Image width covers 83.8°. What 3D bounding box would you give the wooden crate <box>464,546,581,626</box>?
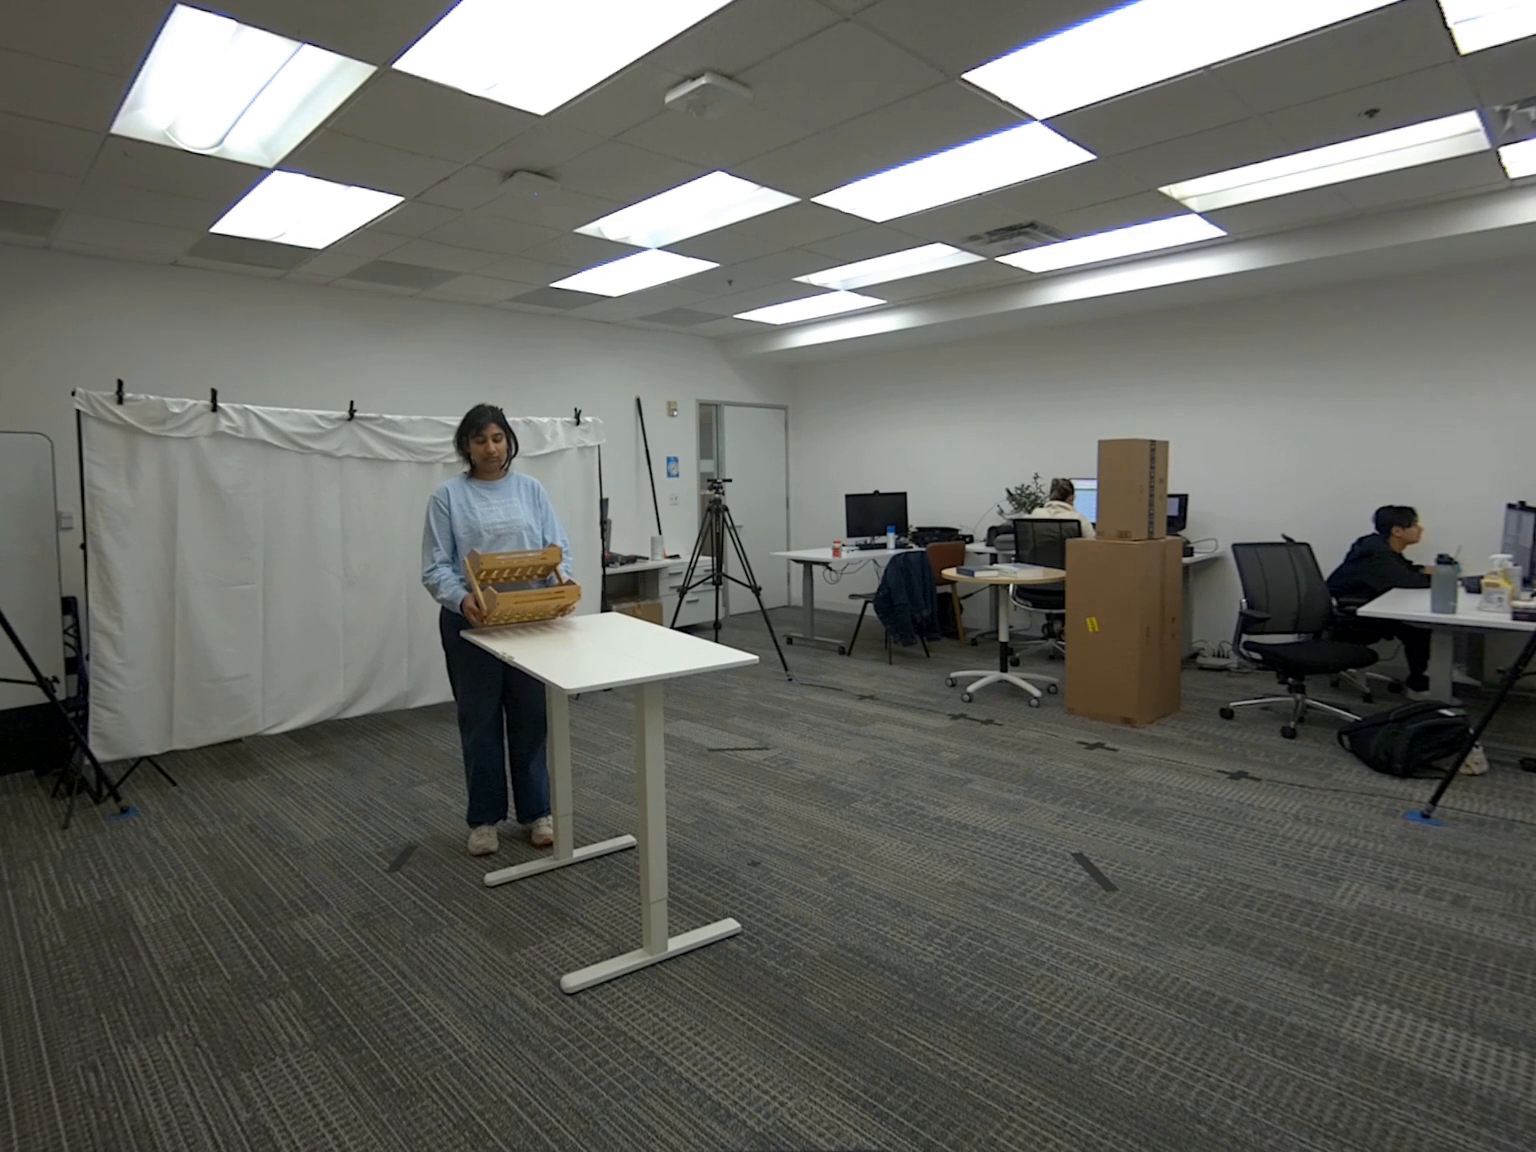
[{"bbox_3d":[-0.871,0.009,3.012,0.316,0.278,0.304,-6,-16,-34],"label":"wooden crate"}]
